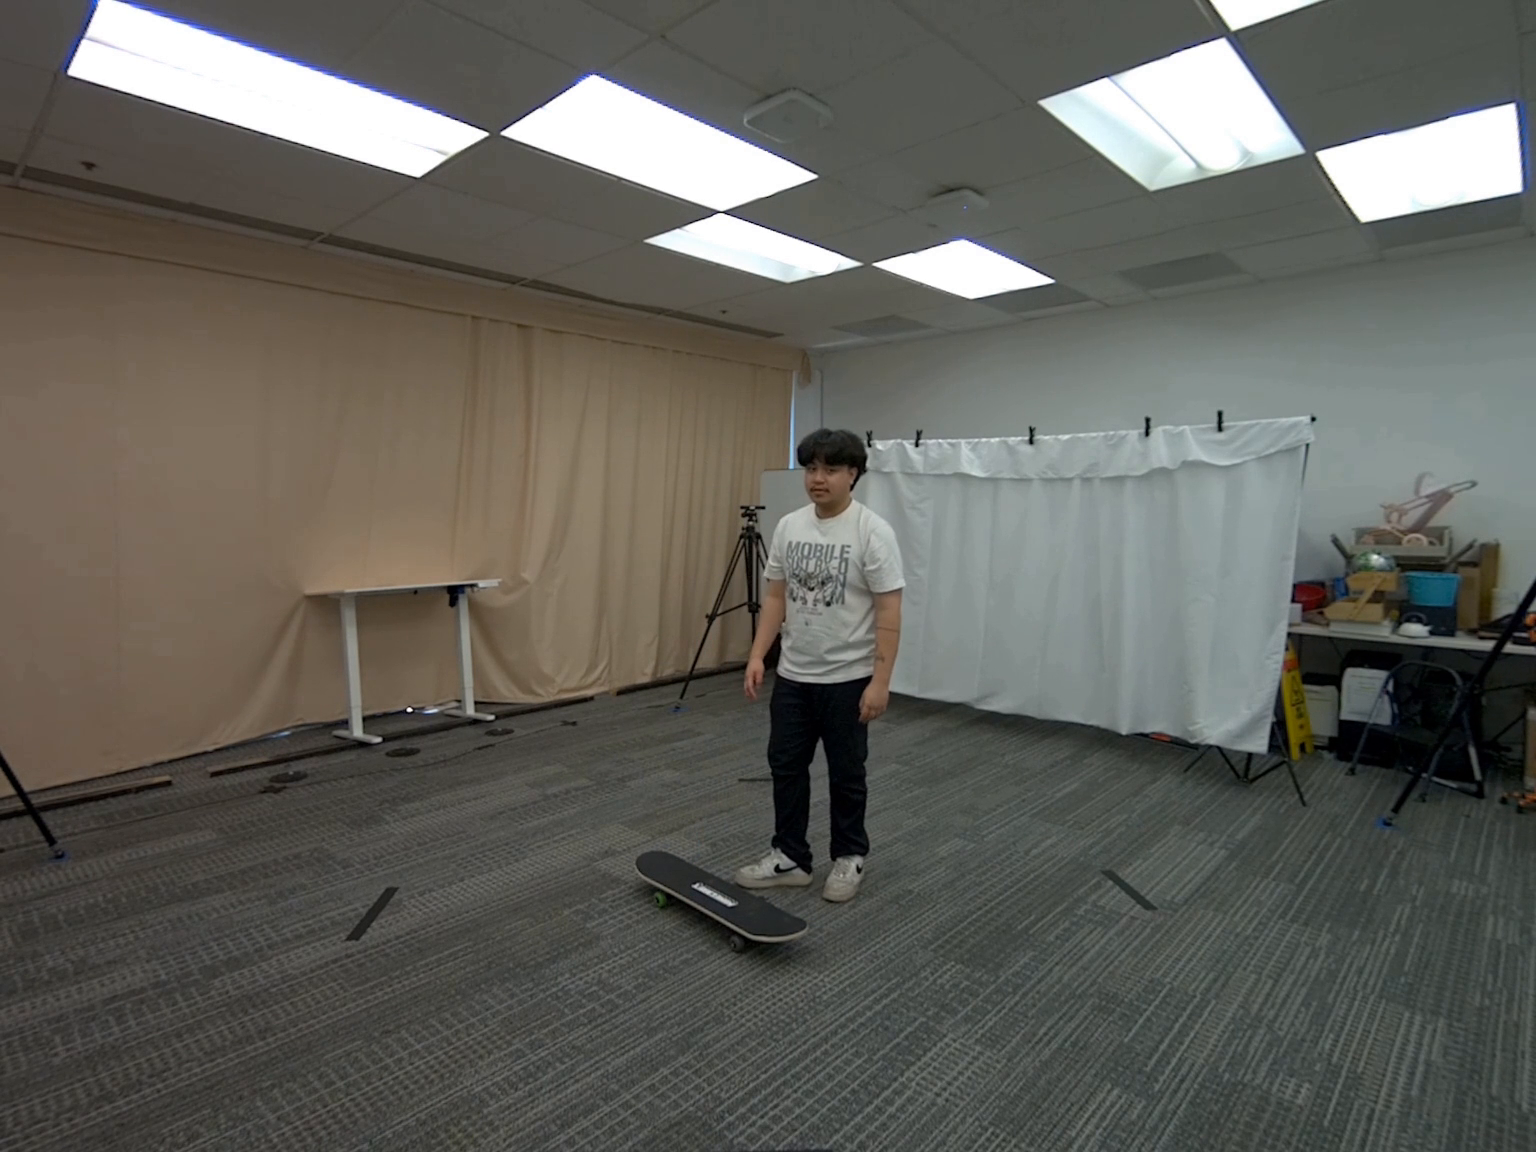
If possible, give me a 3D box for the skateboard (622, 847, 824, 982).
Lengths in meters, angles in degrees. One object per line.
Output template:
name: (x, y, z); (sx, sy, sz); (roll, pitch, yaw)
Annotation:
skateboard: (-0.179, 1.099, 2.827); (0.187, 0.110, 0.812); (-5, 6, -43)
